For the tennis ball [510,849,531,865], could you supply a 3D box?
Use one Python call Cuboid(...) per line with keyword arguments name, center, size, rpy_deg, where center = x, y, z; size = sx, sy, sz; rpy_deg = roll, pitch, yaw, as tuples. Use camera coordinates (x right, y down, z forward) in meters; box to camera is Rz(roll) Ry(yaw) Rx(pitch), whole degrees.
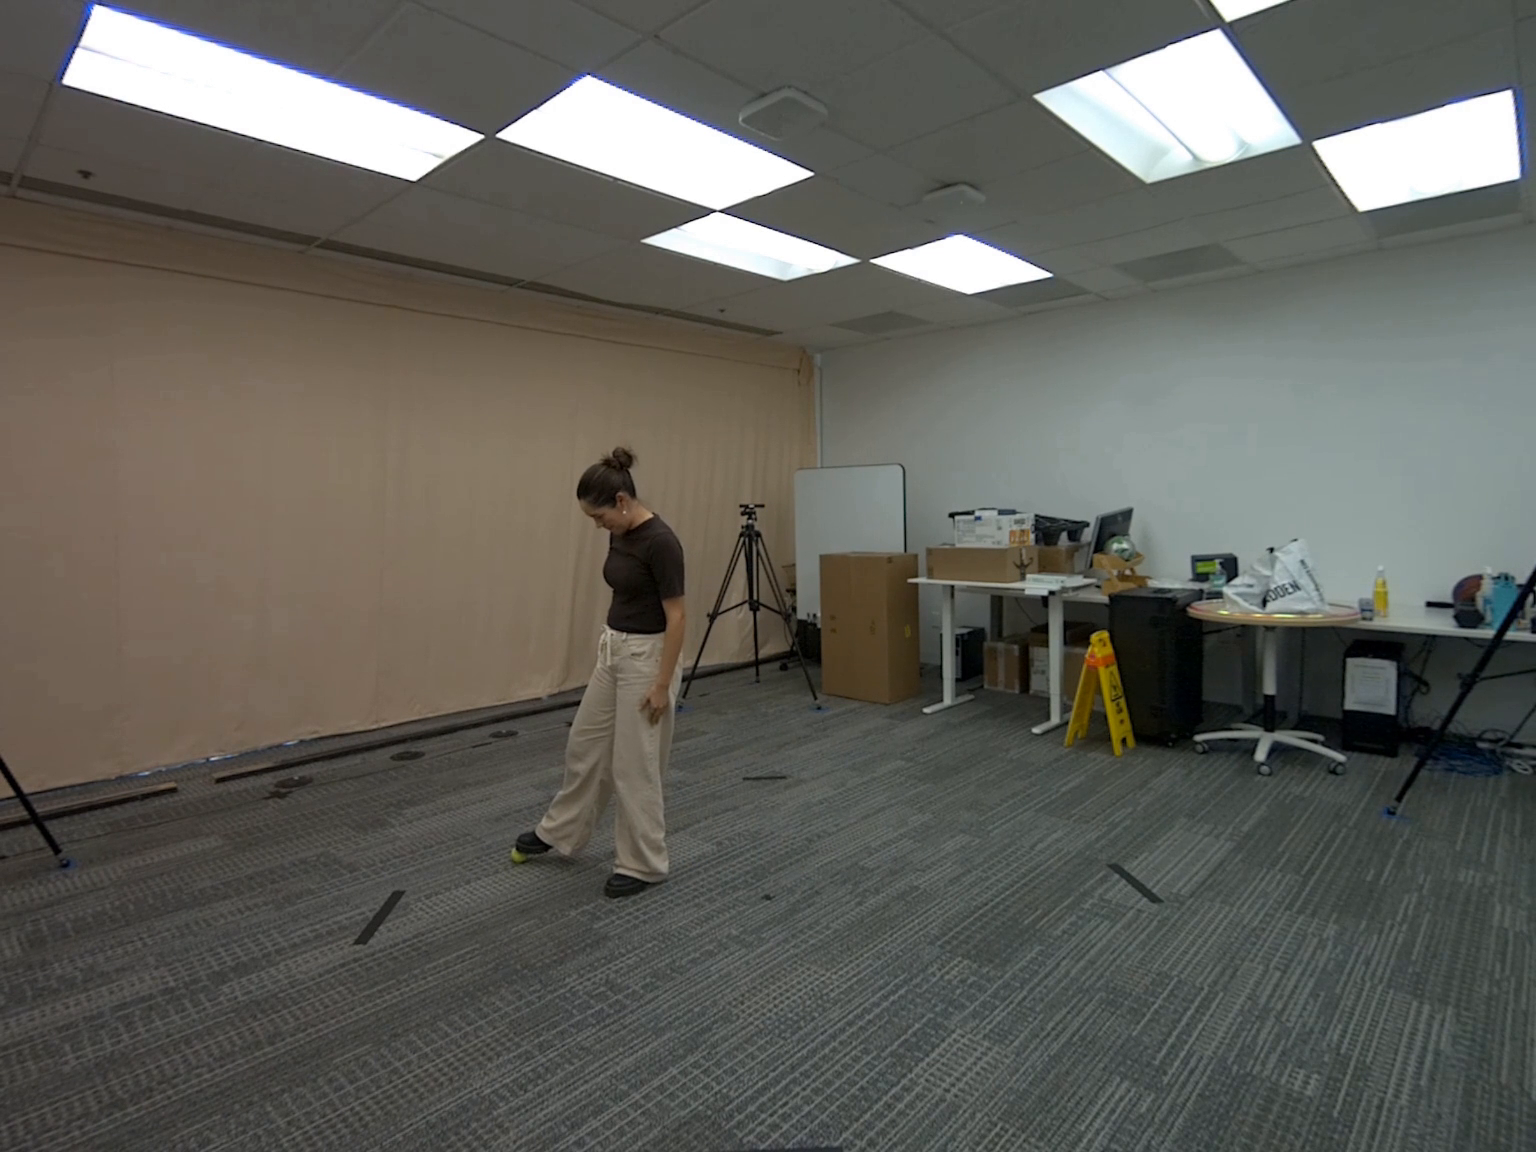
Cuboid(name="tennis ball", center=(-0.989, 1.109, 3.340), size=(0.066, 0.066, 0.067), rpy_deg=(-1, 4, -2))
